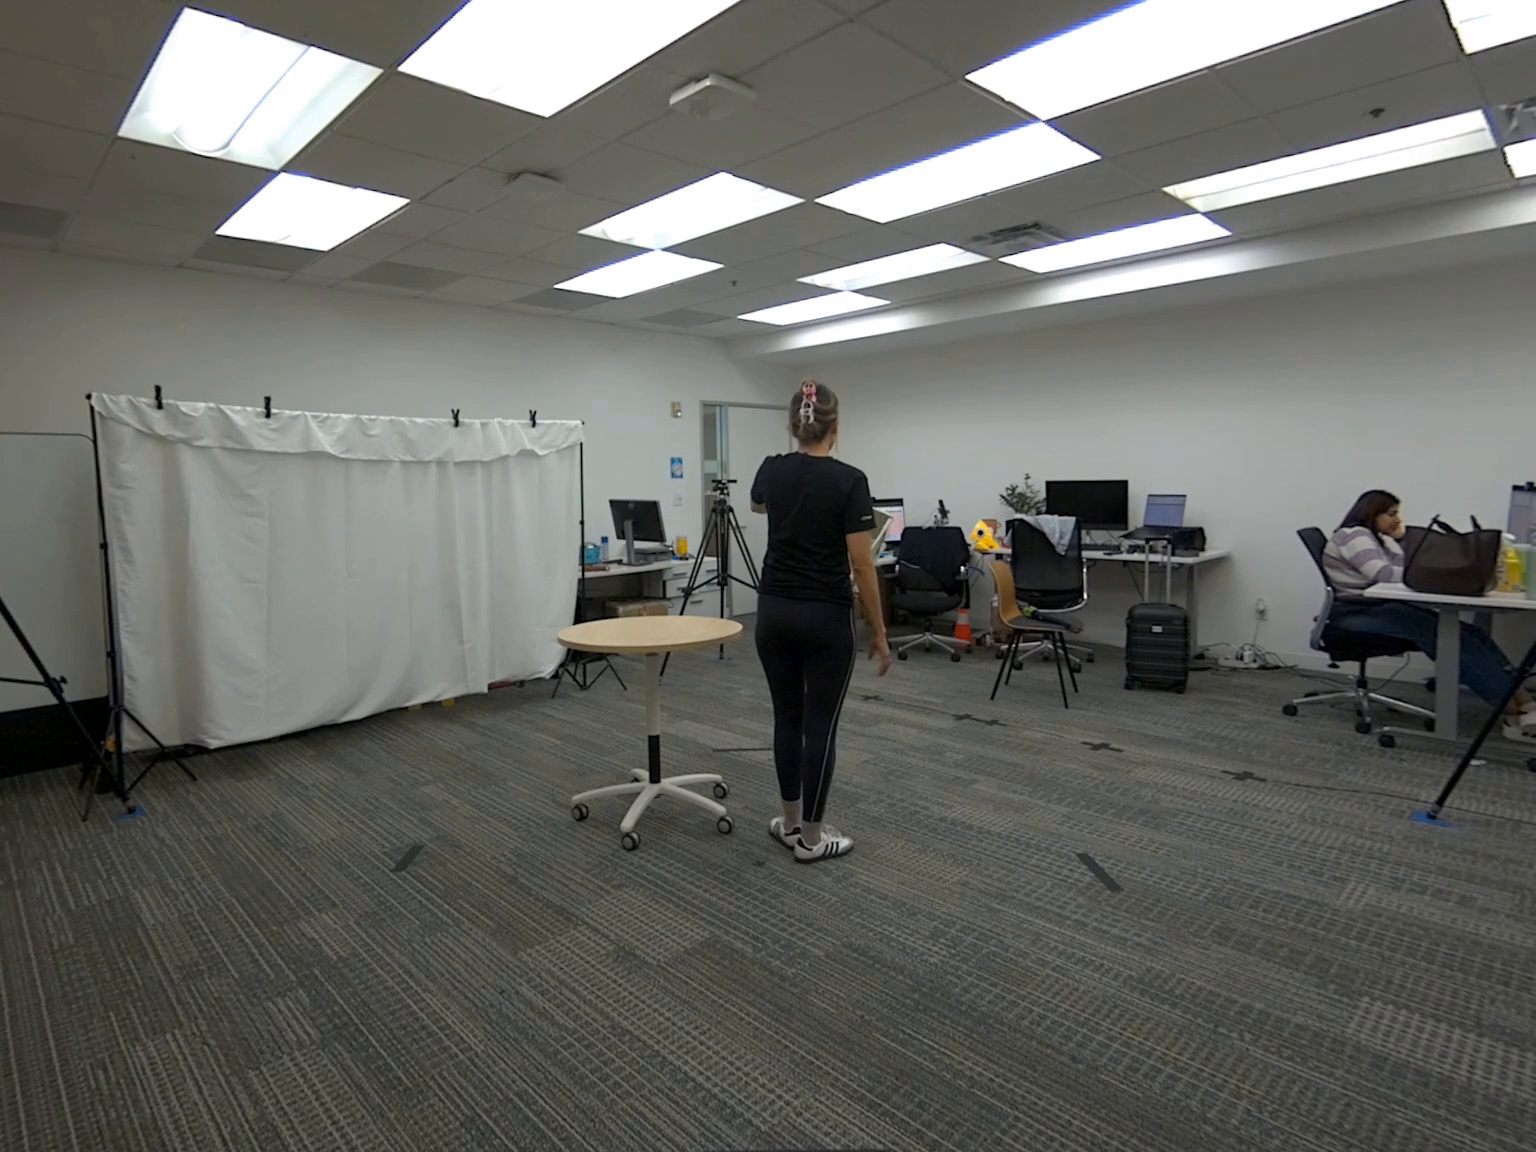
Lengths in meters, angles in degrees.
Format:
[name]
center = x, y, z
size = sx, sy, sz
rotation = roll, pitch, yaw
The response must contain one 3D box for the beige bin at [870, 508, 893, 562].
[beige bin]
center = 0.277, -0.163, 3.691
size = 0.433, 0.184, 0.378
rotation = 24, 50, 20
